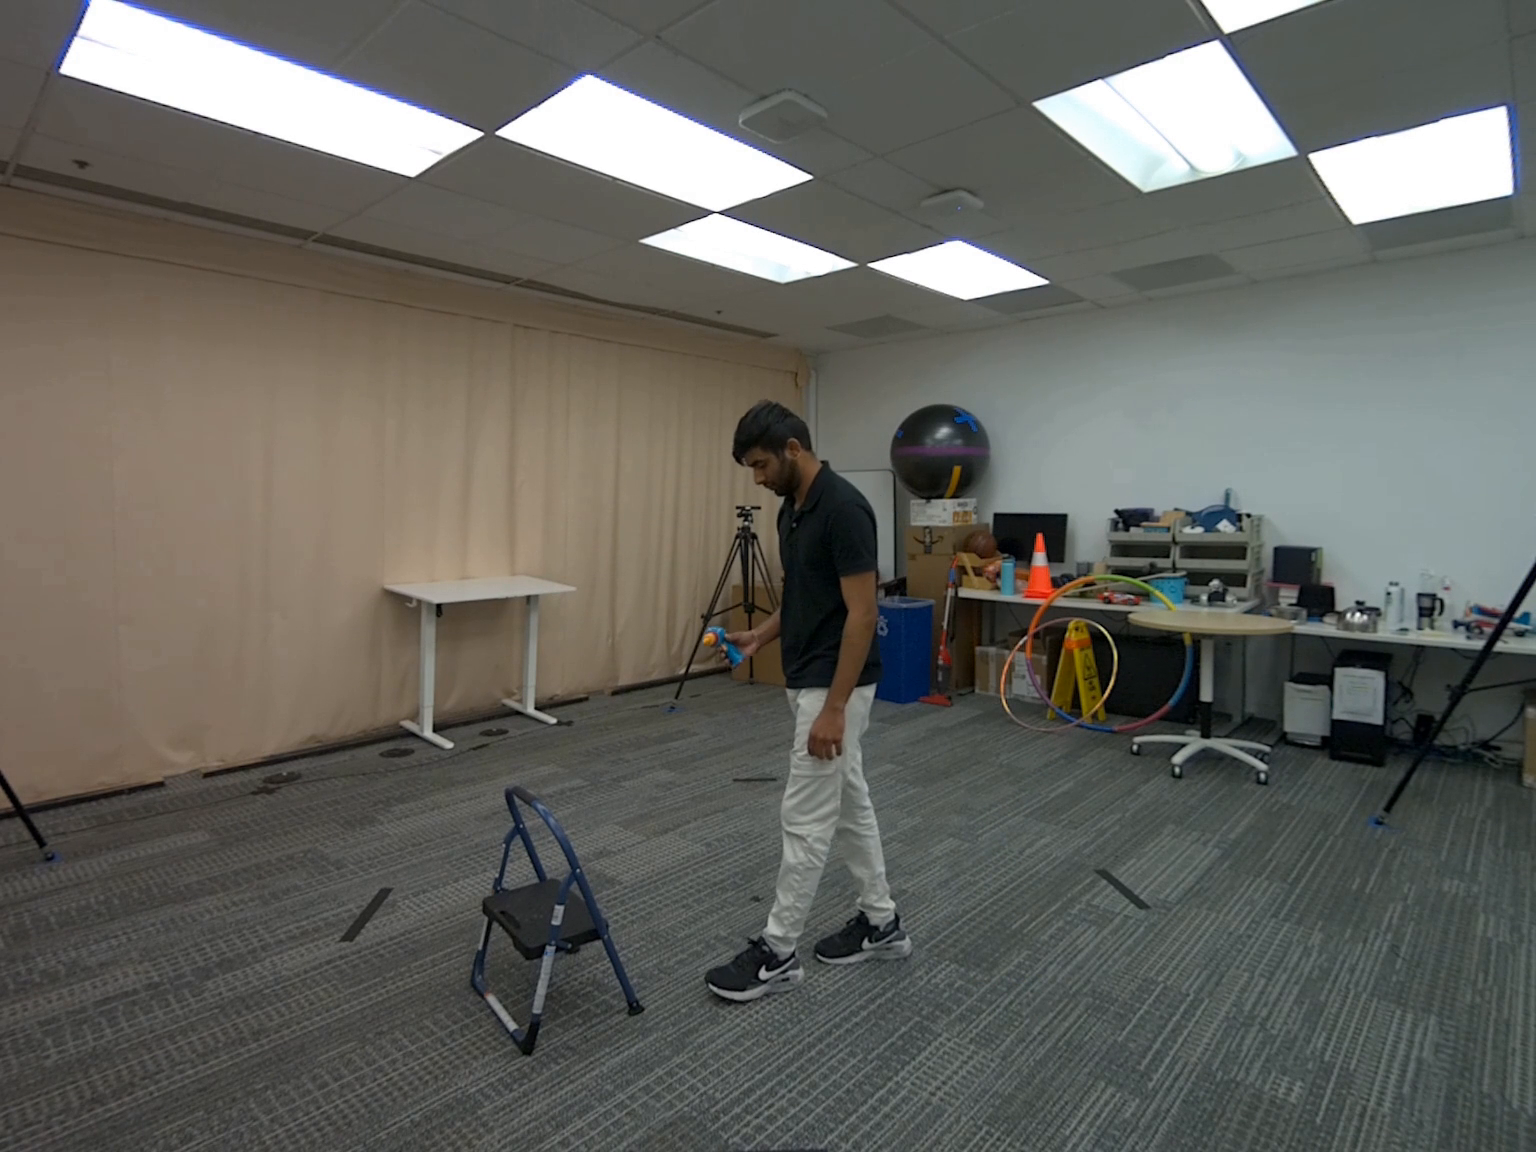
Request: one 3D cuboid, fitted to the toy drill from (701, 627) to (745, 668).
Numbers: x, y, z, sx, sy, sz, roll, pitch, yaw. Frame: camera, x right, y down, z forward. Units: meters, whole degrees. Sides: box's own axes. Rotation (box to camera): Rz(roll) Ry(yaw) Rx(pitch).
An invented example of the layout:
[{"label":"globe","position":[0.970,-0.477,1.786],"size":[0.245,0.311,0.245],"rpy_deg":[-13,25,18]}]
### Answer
[{"label":"toy drill","position":[-0.129,0.212,2.507],"size":[0.148,0.061,0.167],"rpy_deg":[44,12,8]}]
